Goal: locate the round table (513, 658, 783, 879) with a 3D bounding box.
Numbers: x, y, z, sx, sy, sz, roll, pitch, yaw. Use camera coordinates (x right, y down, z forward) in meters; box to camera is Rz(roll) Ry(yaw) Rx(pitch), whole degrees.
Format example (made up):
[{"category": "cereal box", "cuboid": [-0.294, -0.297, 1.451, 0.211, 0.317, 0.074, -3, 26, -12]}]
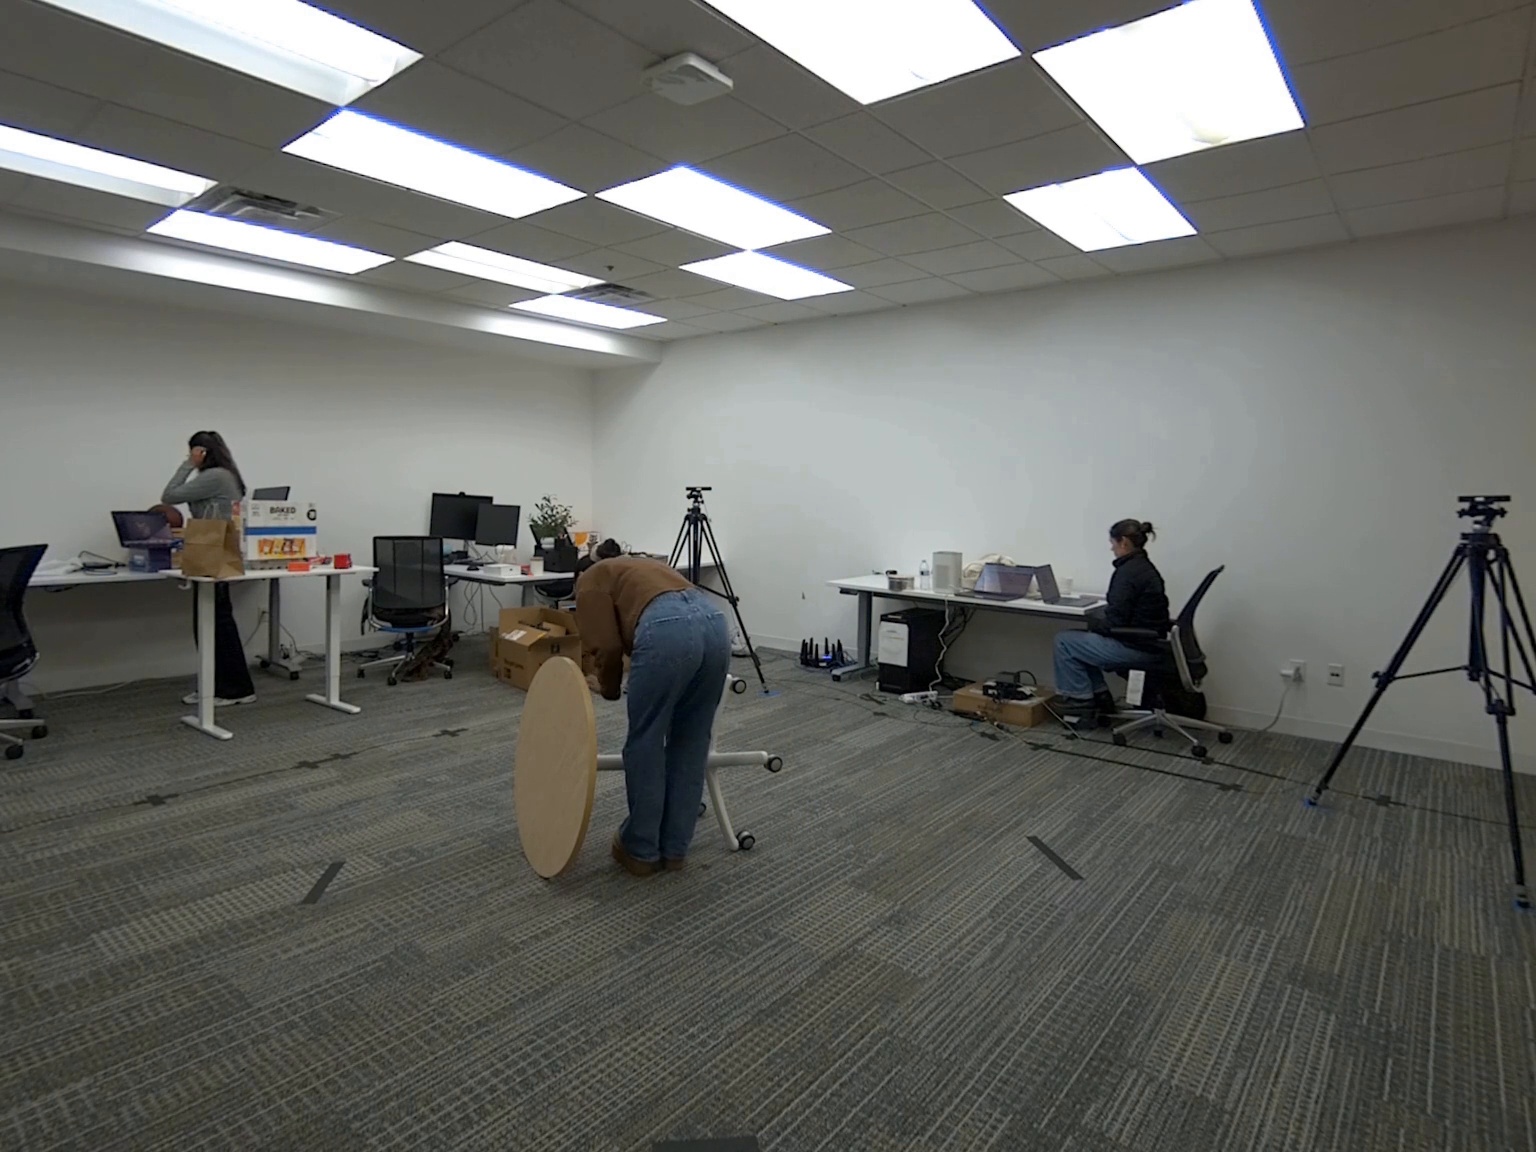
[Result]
[{"category": "round table", "cuboid": [-0.481, 0.711, 3.279, 0.769, 0.764, 0.788, 7, 0, -32]}]
